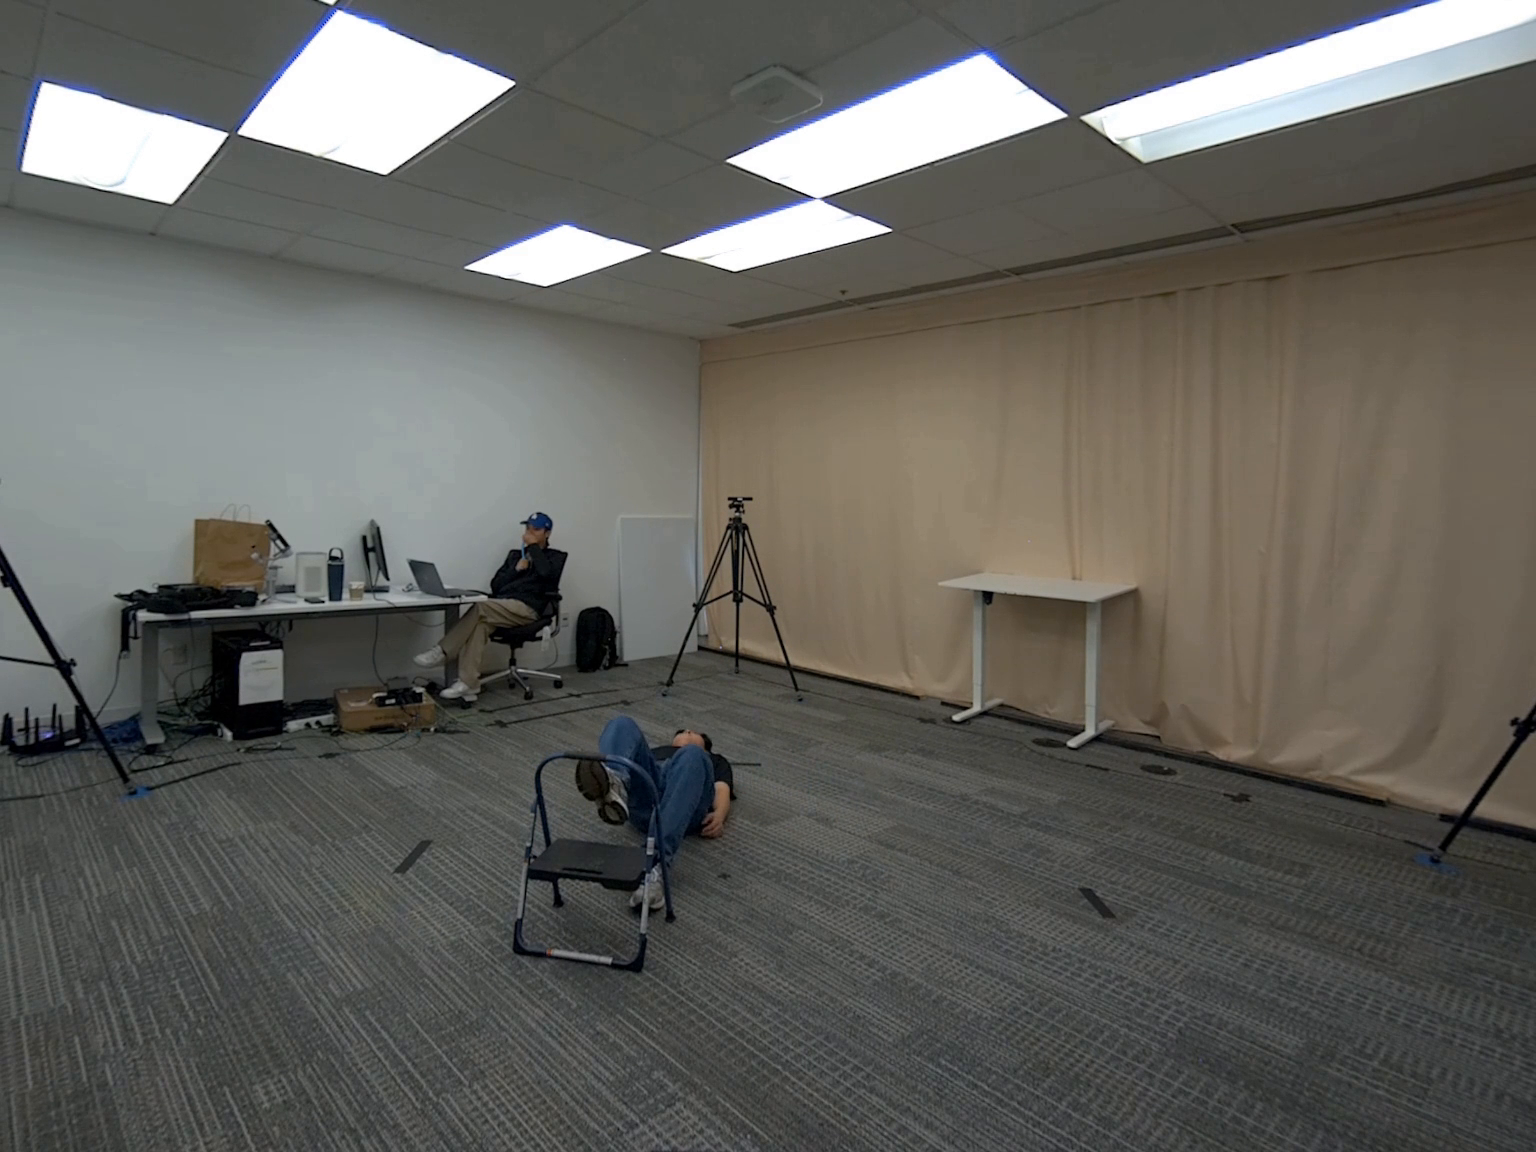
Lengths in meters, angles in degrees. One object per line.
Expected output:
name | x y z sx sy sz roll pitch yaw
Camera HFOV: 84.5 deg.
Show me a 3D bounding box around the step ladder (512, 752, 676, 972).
step ladder | -0.541 0.837 2.648 0.434 0.605 0.347 1 3 10
